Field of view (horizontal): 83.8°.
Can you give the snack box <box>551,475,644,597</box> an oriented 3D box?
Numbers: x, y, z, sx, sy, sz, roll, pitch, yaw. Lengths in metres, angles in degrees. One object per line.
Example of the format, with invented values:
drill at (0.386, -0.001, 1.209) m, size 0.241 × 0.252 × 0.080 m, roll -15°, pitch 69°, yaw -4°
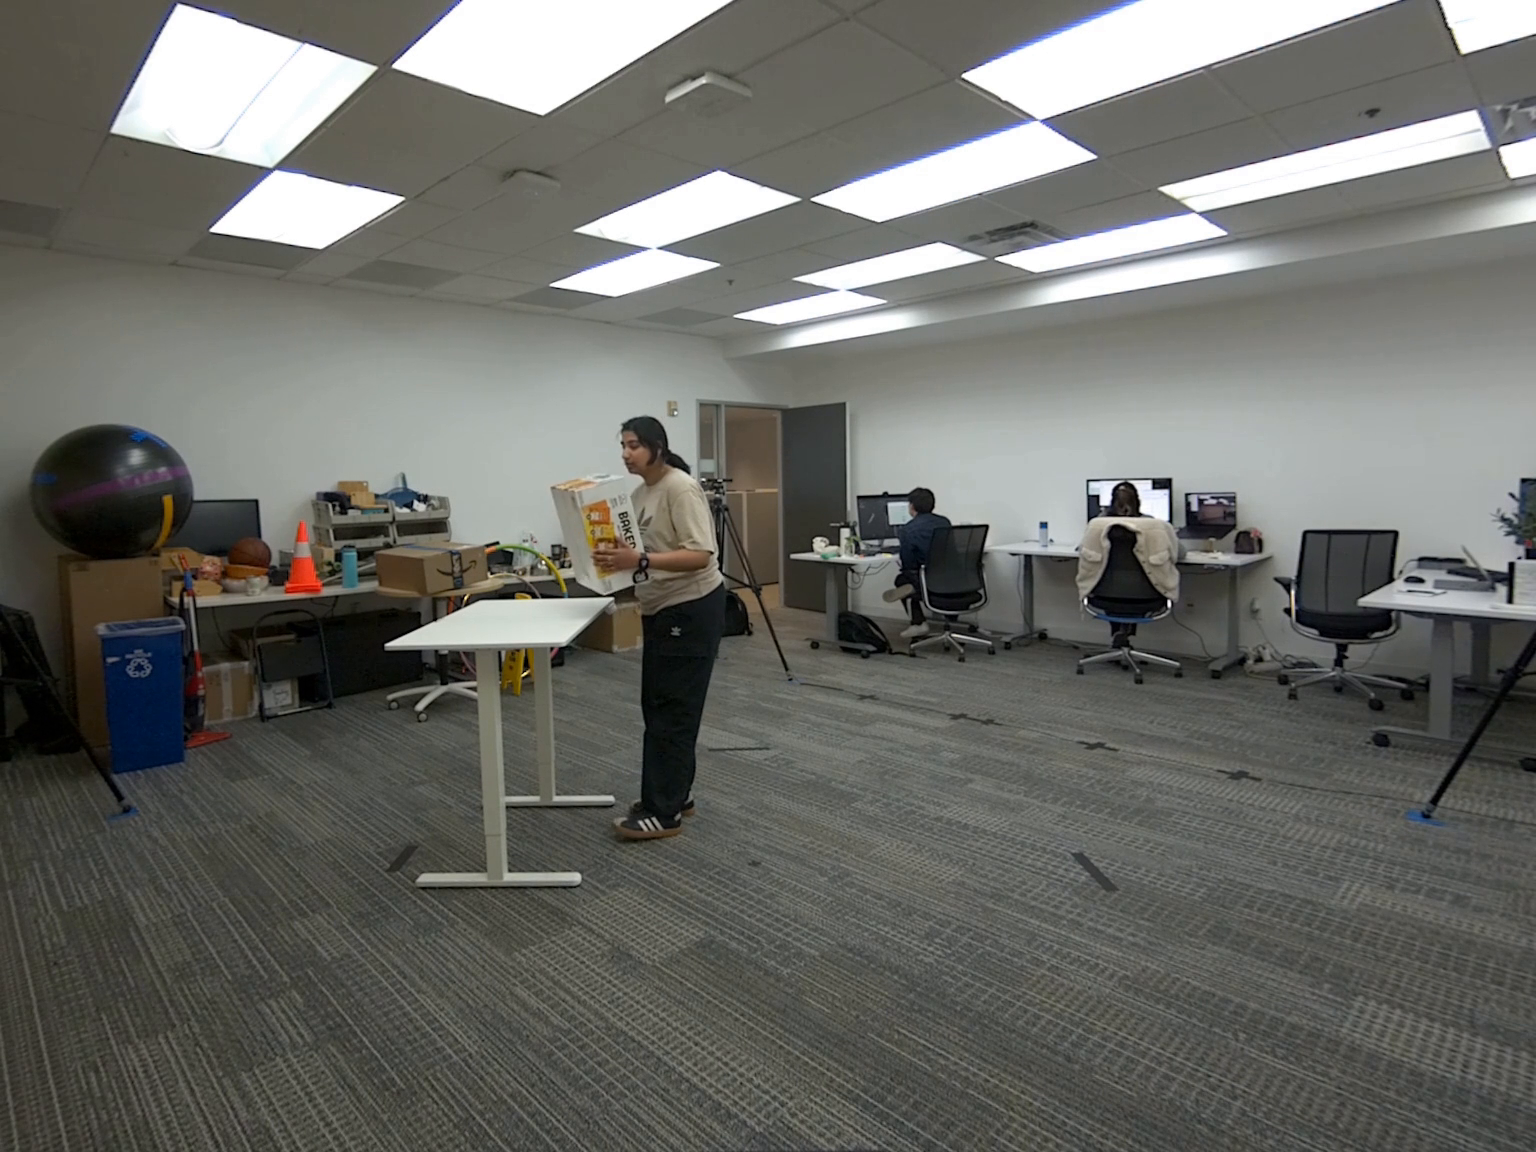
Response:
snack box at (-0.656, -0.173, 3.304) m, size 0.203 × 0.399 × 0.350 m, roll -19°, pitch 16°, yaw -25°
